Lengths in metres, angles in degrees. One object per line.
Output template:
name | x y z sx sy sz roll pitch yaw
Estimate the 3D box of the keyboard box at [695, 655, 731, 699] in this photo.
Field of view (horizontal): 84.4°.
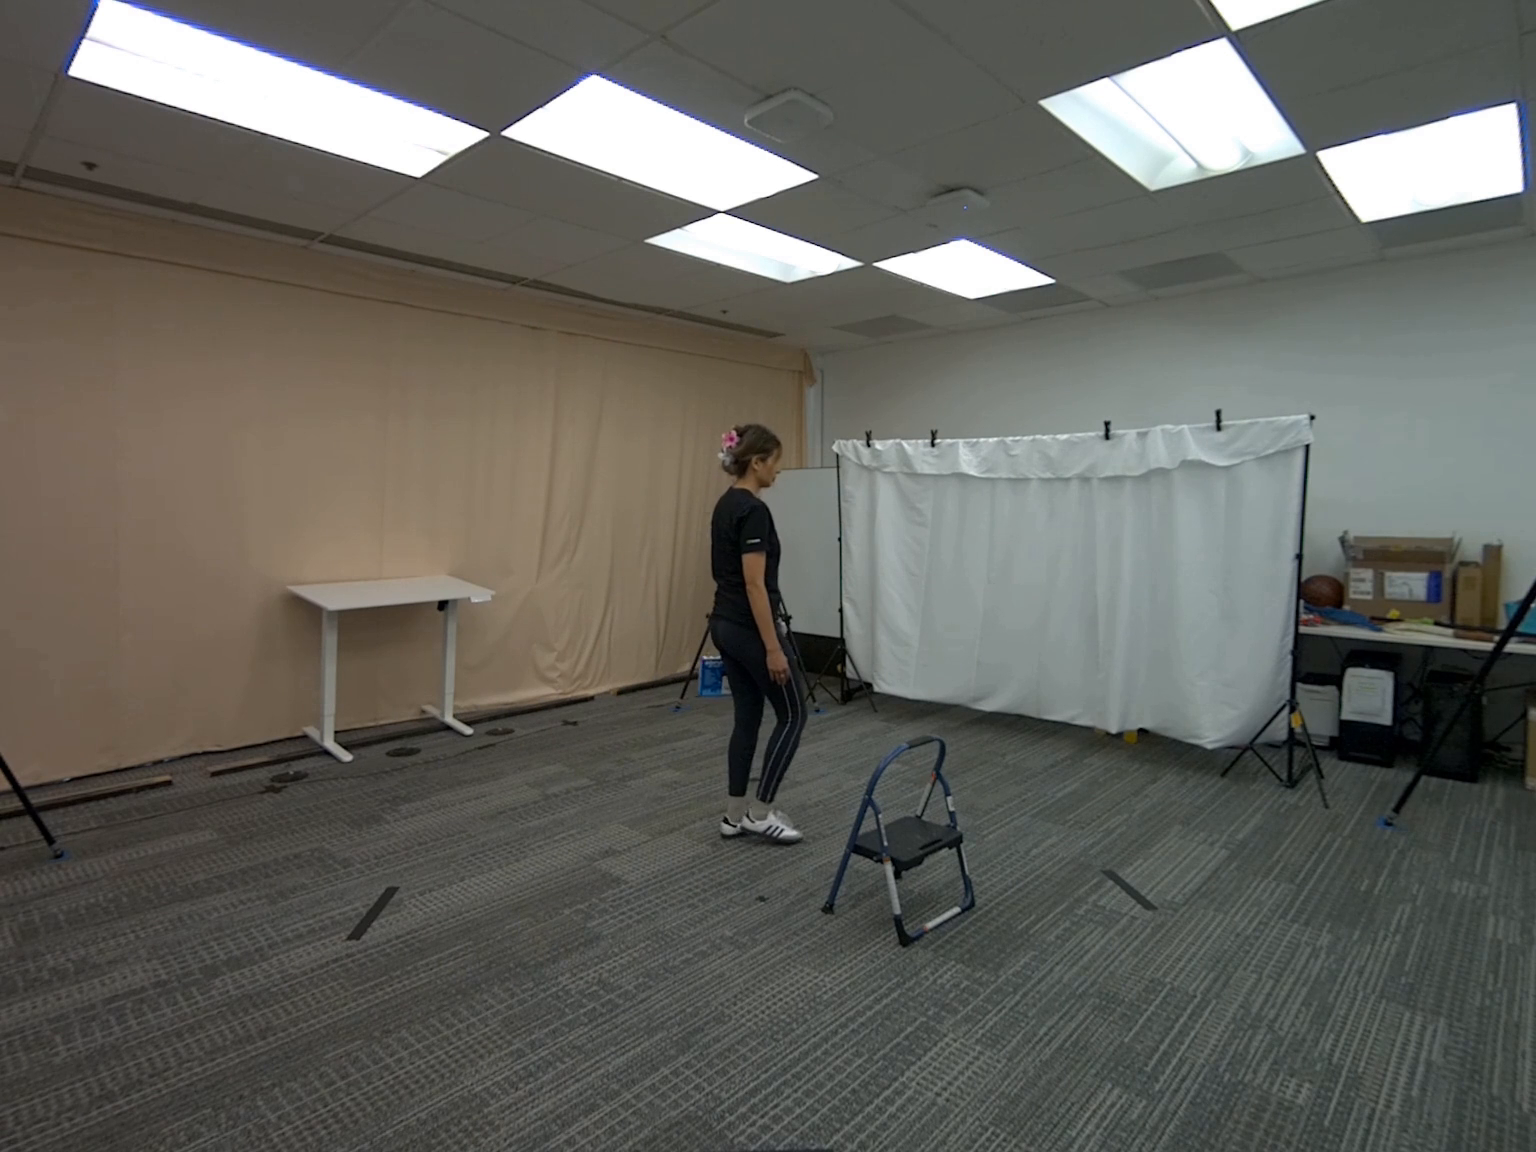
keyboard box | -0.091 0.446 3.790 0.431 0.175 0.060 0 7 -13
